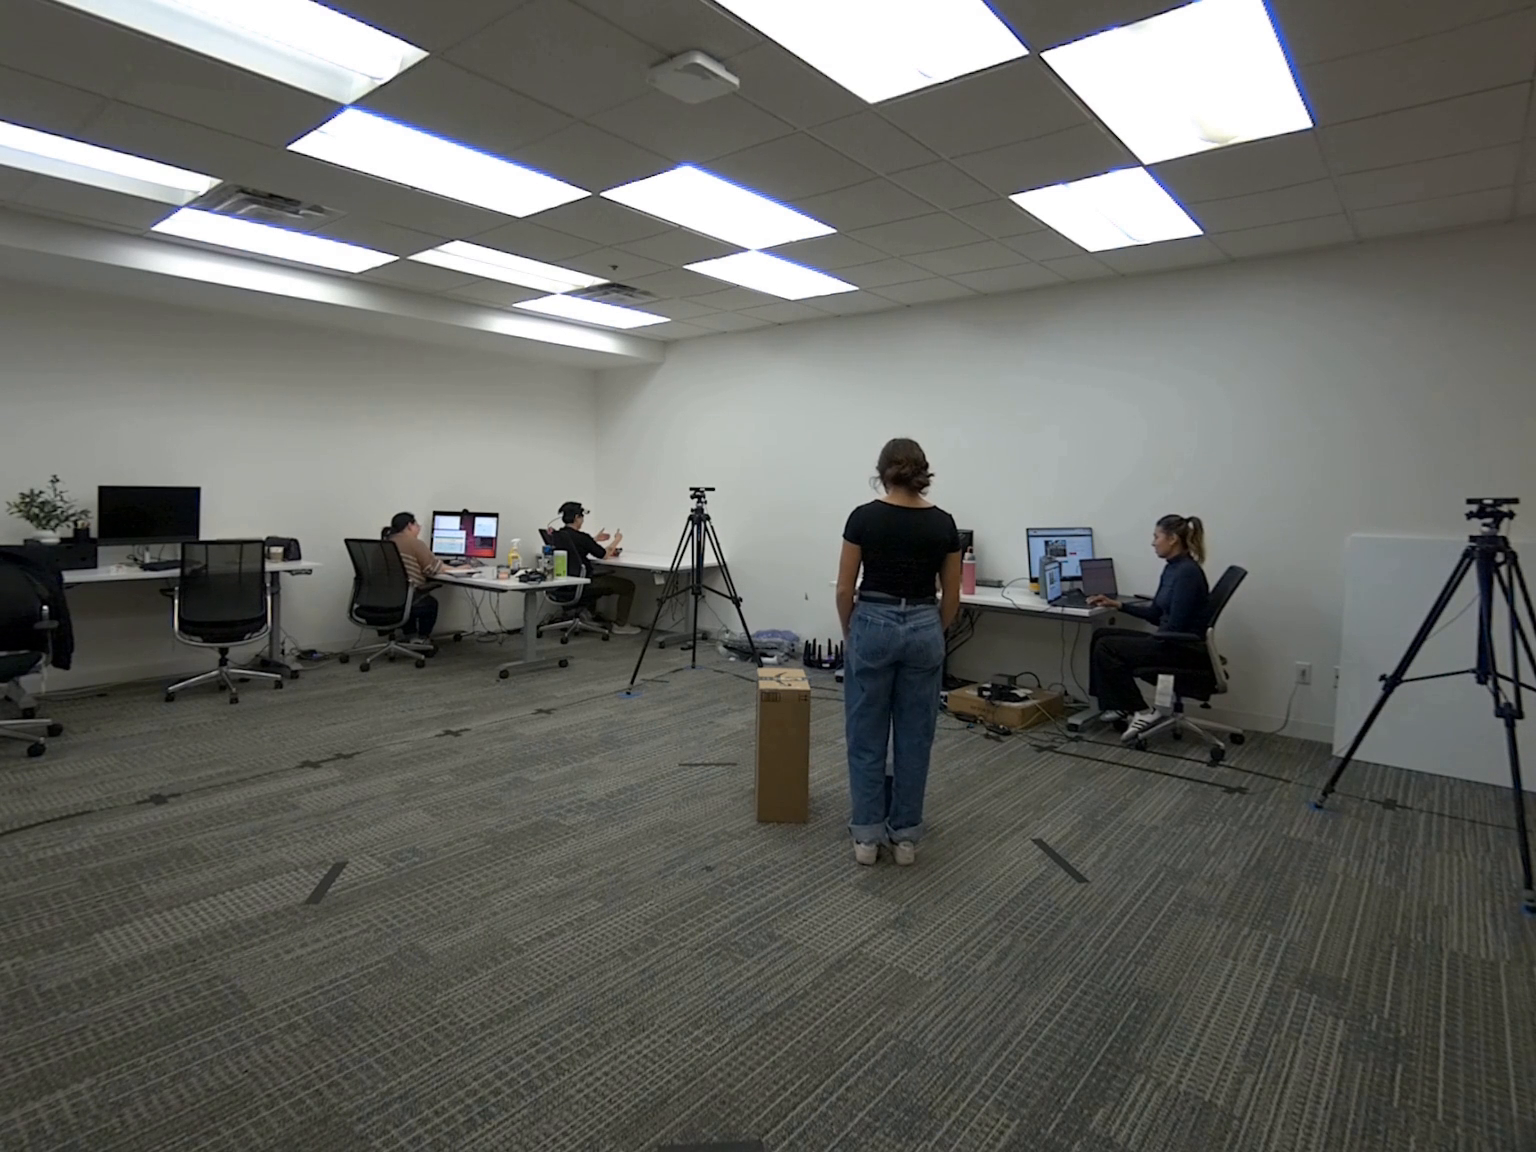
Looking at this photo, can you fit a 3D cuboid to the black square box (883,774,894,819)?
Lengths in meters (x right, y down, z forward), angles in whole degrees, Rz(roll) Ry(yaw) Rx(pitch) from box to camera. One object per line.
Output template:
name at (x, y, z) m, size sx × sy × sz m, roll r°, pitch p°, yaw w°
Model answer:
black square box at (0.506, 0.909, 3.571) m, size 0.219 × 0.227 × 0.155 m, roll 2°, pitch 4°, yaw 9°
